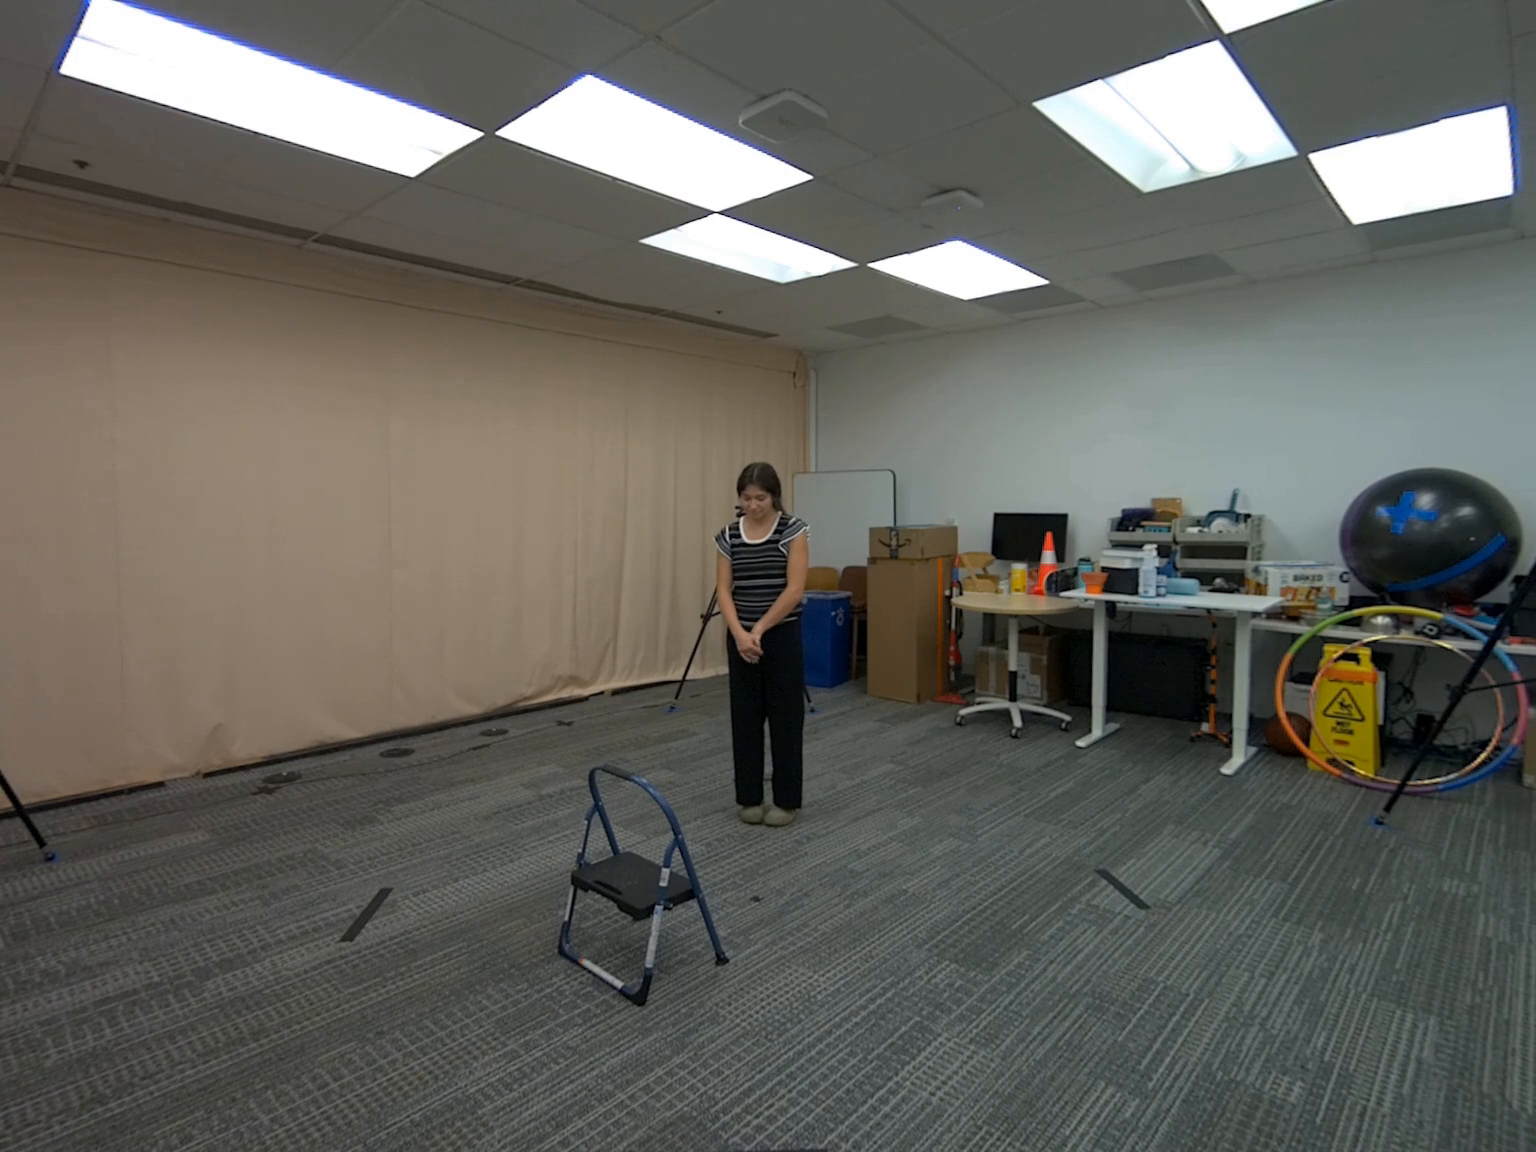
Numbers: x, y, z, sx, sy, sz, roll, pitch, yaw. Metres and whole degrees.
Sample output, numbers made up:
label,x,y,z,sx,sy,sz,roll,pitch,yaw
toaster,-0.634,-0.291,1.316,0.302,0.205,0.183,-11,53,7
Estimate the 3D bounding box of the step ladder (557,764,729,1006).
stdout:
label,x,y,z,sx,sy,sz,roll,pitch,yaw
step ladder,-0.393,0.878,2.588,0.445,0.605,0.338,3,4,43
